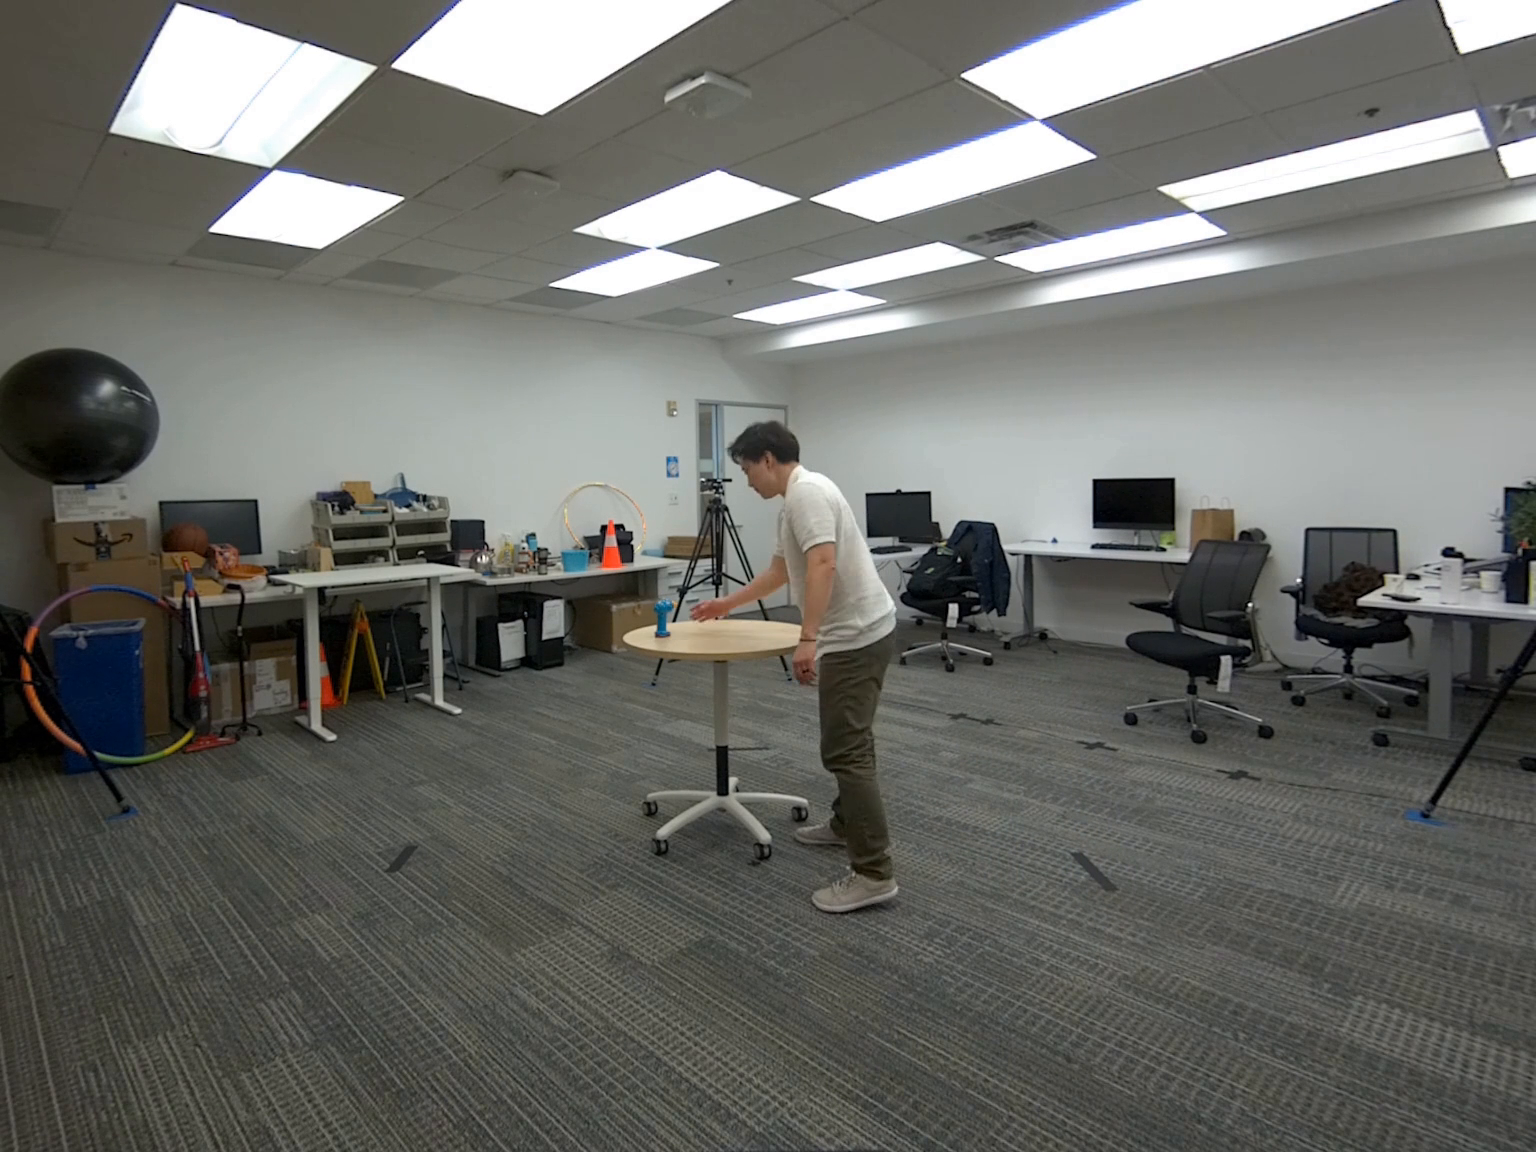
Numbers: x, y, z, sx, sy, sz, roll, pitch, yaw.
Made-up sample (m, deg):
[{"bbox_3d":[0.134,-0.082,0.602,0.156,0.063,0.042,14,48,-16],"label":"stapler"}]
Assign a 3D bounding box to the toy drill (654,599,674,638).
[{"bbox_3d":[-0.403,0.161,3.395,0.062,0.145,0.167,4,5,18],"label":"toy drill"}]
